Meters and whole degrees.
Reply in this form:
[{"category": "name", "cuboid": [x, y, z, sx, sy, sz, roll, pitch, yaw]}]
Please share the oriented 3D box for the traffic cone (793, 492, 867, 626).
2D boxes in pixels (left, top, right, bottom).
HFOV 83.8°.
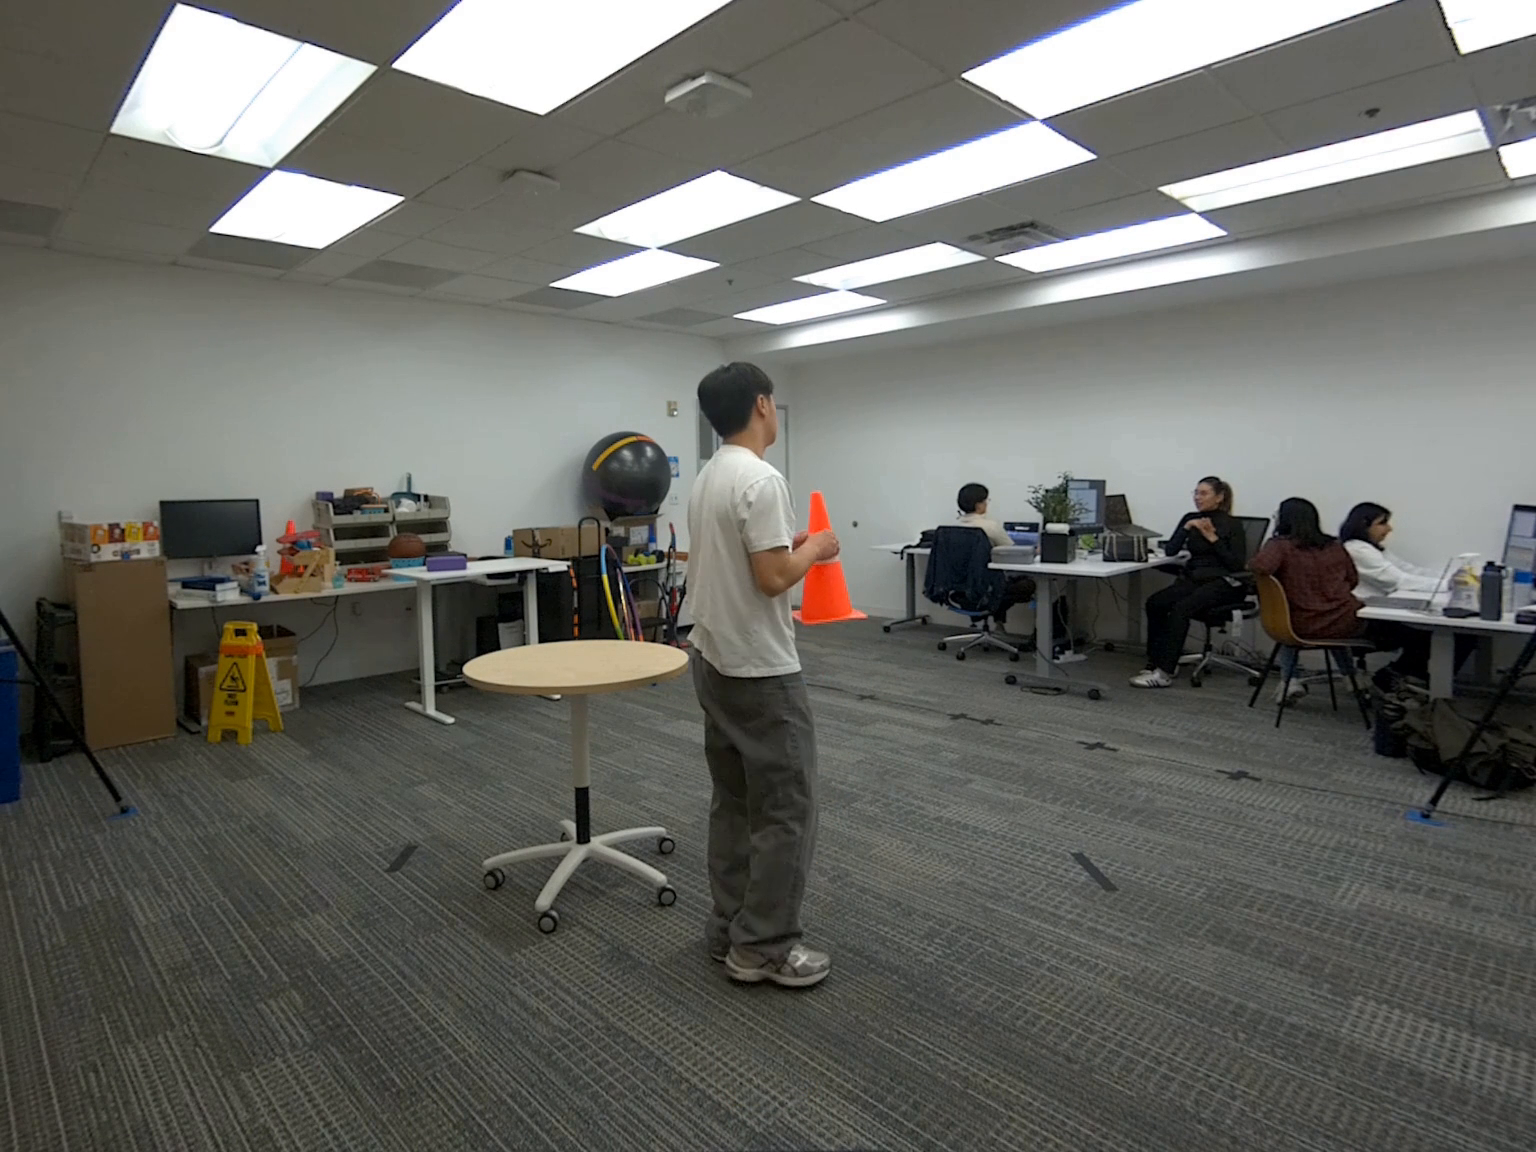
[{"category": "traffic cone", "cuboid": [0.163, -0.064, 2.621, 0.199, 0.382, 0.210, -6, 5, -27]}]
